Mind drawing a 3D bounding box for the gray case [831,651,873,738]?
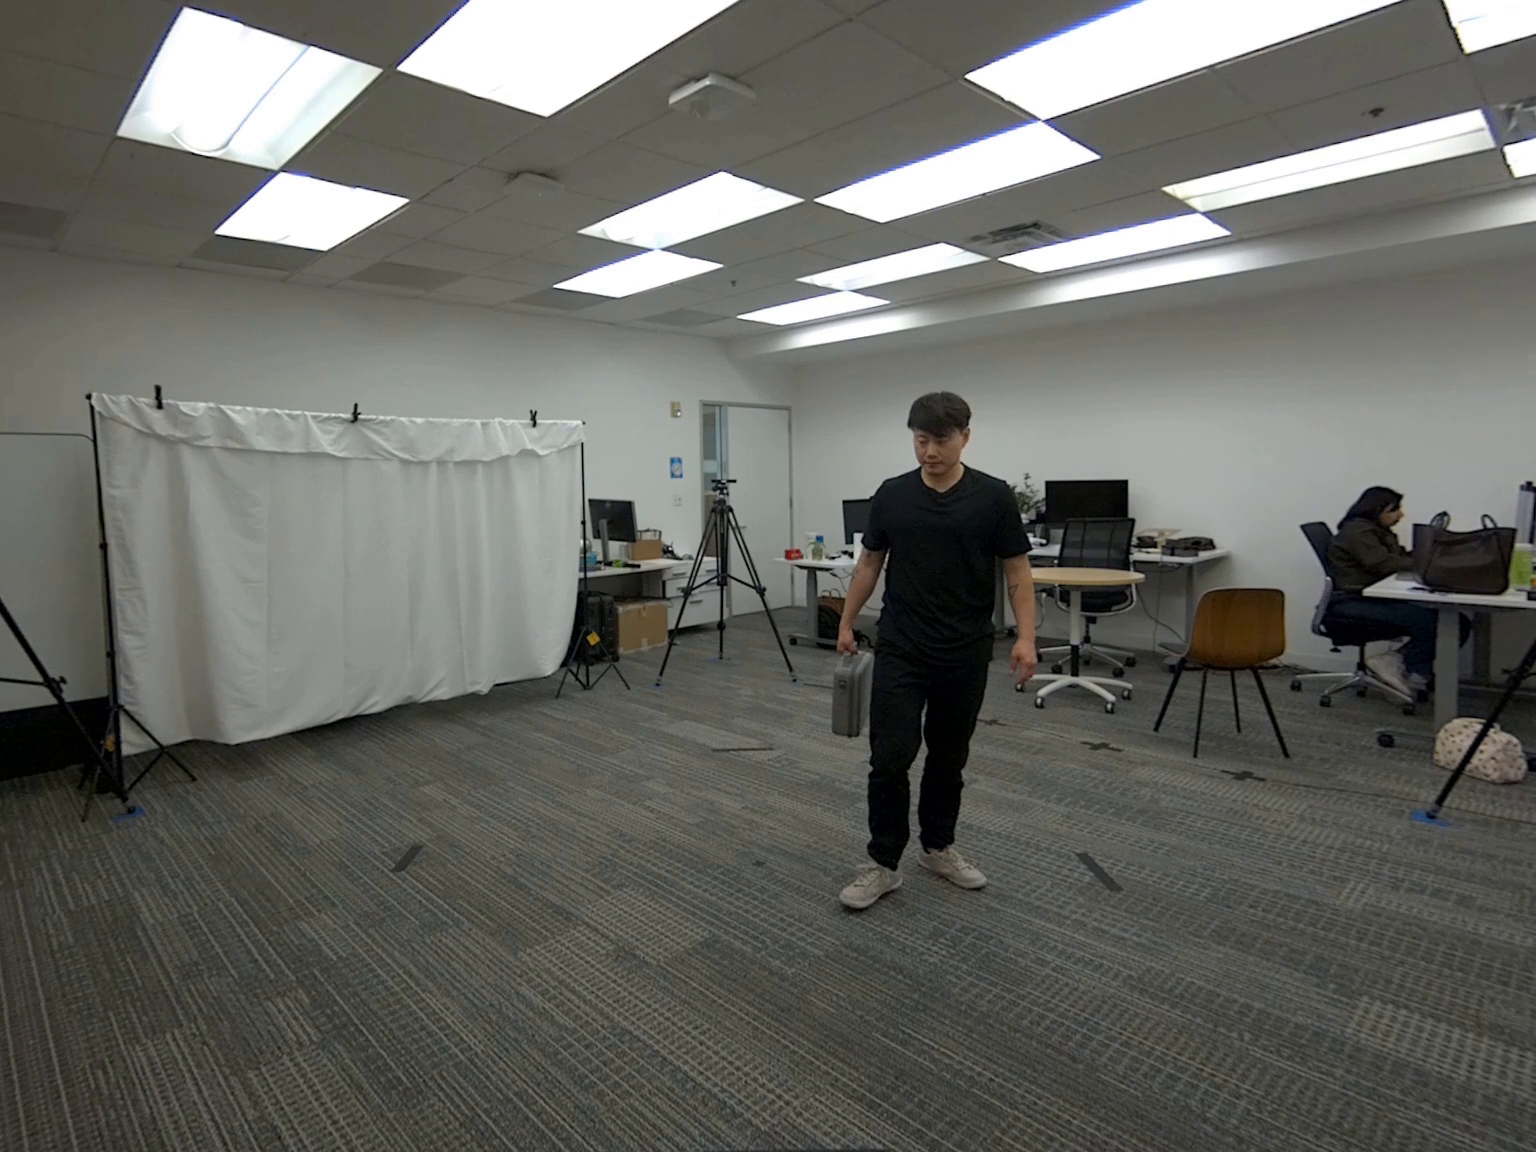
[{"bbox_3d":[0.305,0.420,3.079,0.106,0.258,0.255,1,11,16],"label":"gray case"}]
